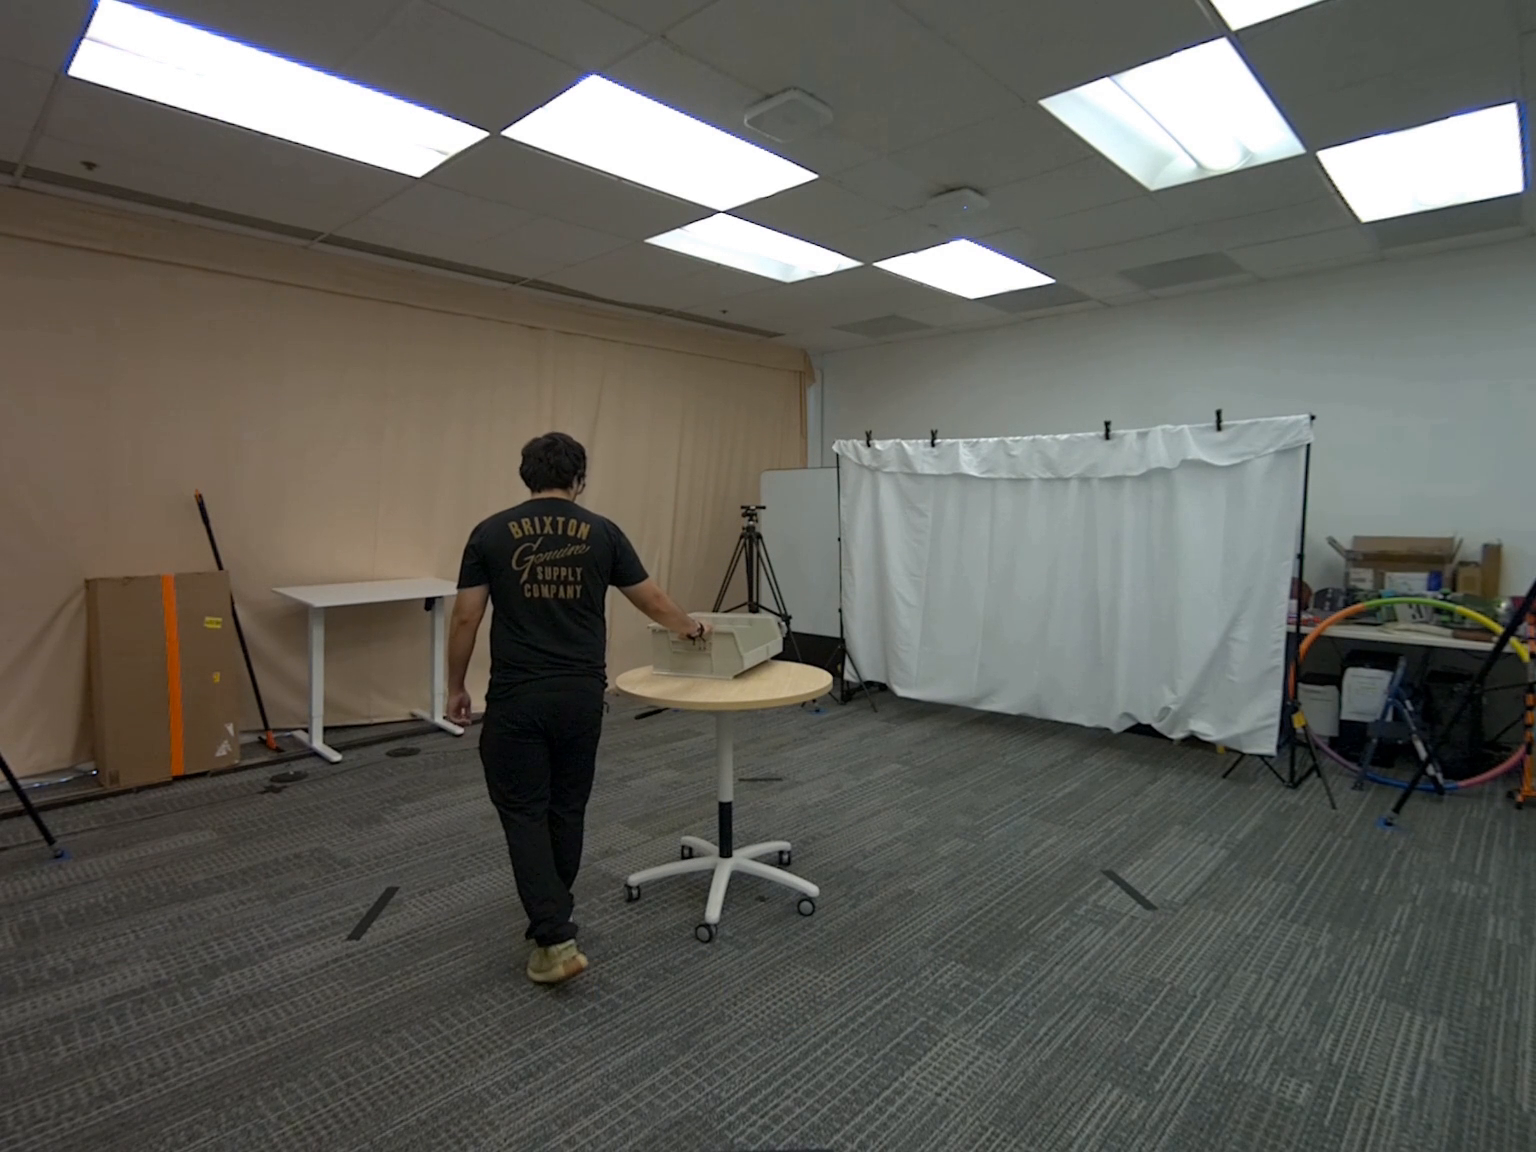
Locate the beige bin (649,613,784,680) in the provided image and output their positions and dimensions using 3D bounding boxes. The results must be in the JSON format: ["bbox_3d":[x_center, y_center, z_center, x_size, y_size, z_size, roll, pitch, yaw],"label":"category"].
[{"bbox_3d":[-0.189,0.255,3.176,0.386,0.188,0.414,0,4,21],"label":"beige bin"}]
